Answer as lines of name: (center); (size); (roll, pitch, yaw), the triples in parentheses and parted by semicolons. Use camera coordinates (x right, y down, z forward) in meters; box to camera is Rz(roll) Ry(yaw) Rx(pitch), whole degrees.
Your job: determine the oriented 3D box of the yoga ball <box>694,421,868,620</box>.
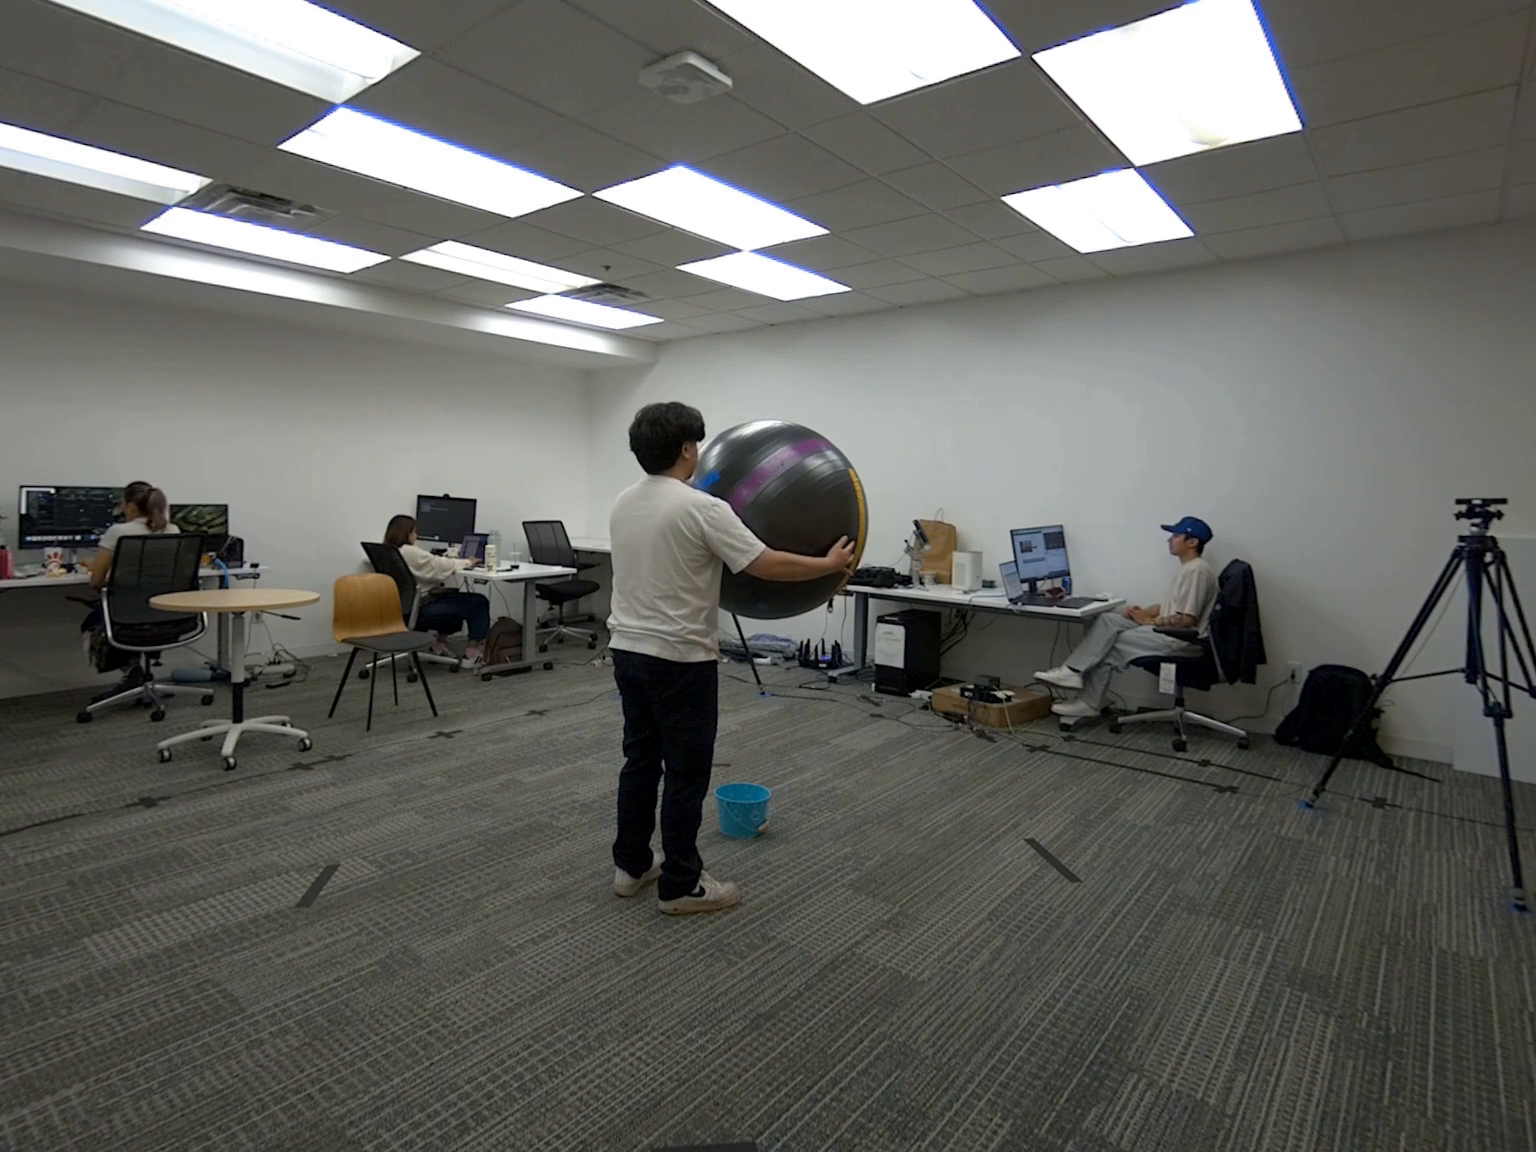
yoga ball: (-0.002, -0.210, 3.261); (0.757, 0.755, 0.762); (1, 4, -2)
